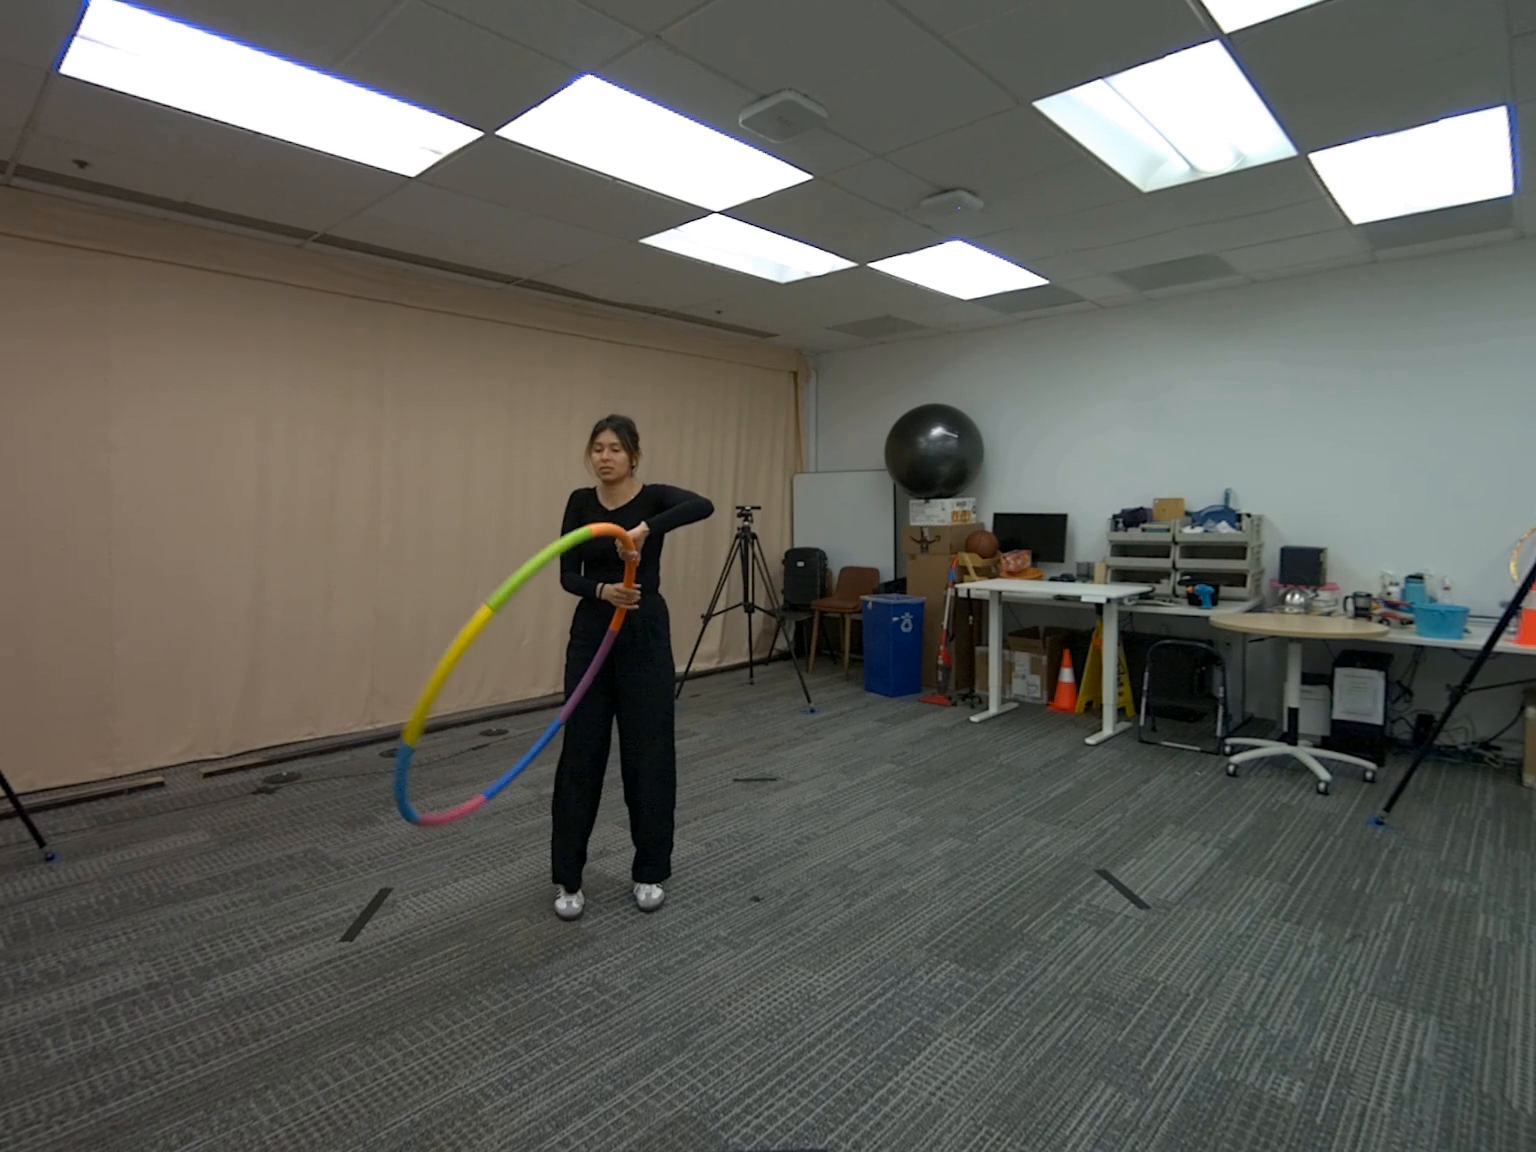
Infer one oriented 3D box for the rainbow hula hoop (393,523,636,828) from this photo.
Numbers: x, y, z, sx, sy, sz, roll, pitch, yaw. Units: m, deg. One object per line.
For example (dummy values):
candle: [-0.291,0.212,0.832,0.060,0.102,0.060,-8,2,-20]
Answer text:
rainbow hula hoop: [-0.672,0.273,2.447,0.052,0.984,0.968,30,13,13]
